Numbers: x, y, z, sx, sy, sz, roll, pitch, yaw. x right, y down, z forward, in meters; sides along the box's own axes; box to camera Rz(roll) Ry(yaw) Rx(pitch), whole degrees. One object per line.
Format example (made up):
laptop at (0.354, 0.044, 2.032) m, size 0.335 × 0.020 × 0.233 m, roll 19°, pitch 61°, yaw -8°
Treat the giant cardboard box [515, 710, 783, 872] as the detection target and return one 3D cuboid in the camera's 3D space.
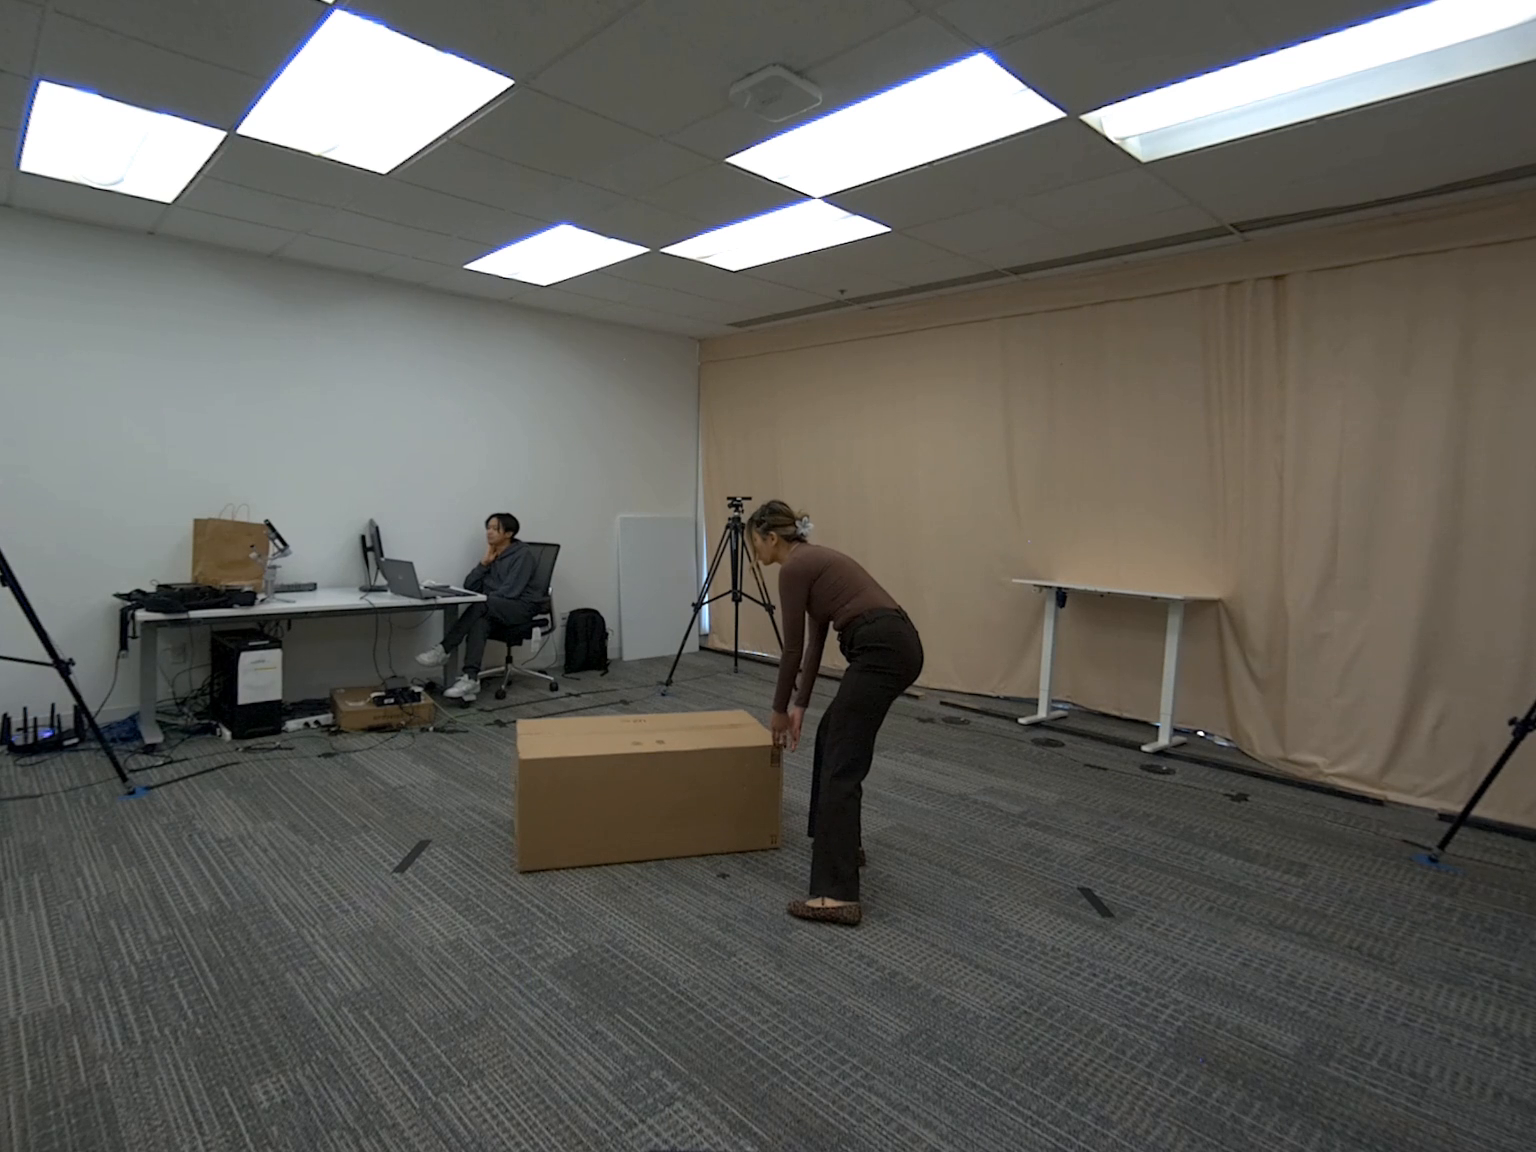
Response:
giant cardboard box at (-0.519, 0.849, 3.482) m, size 1.014 × 0.446 × 0.592 m, roll 1°, pitch 3°, yaw -16°
